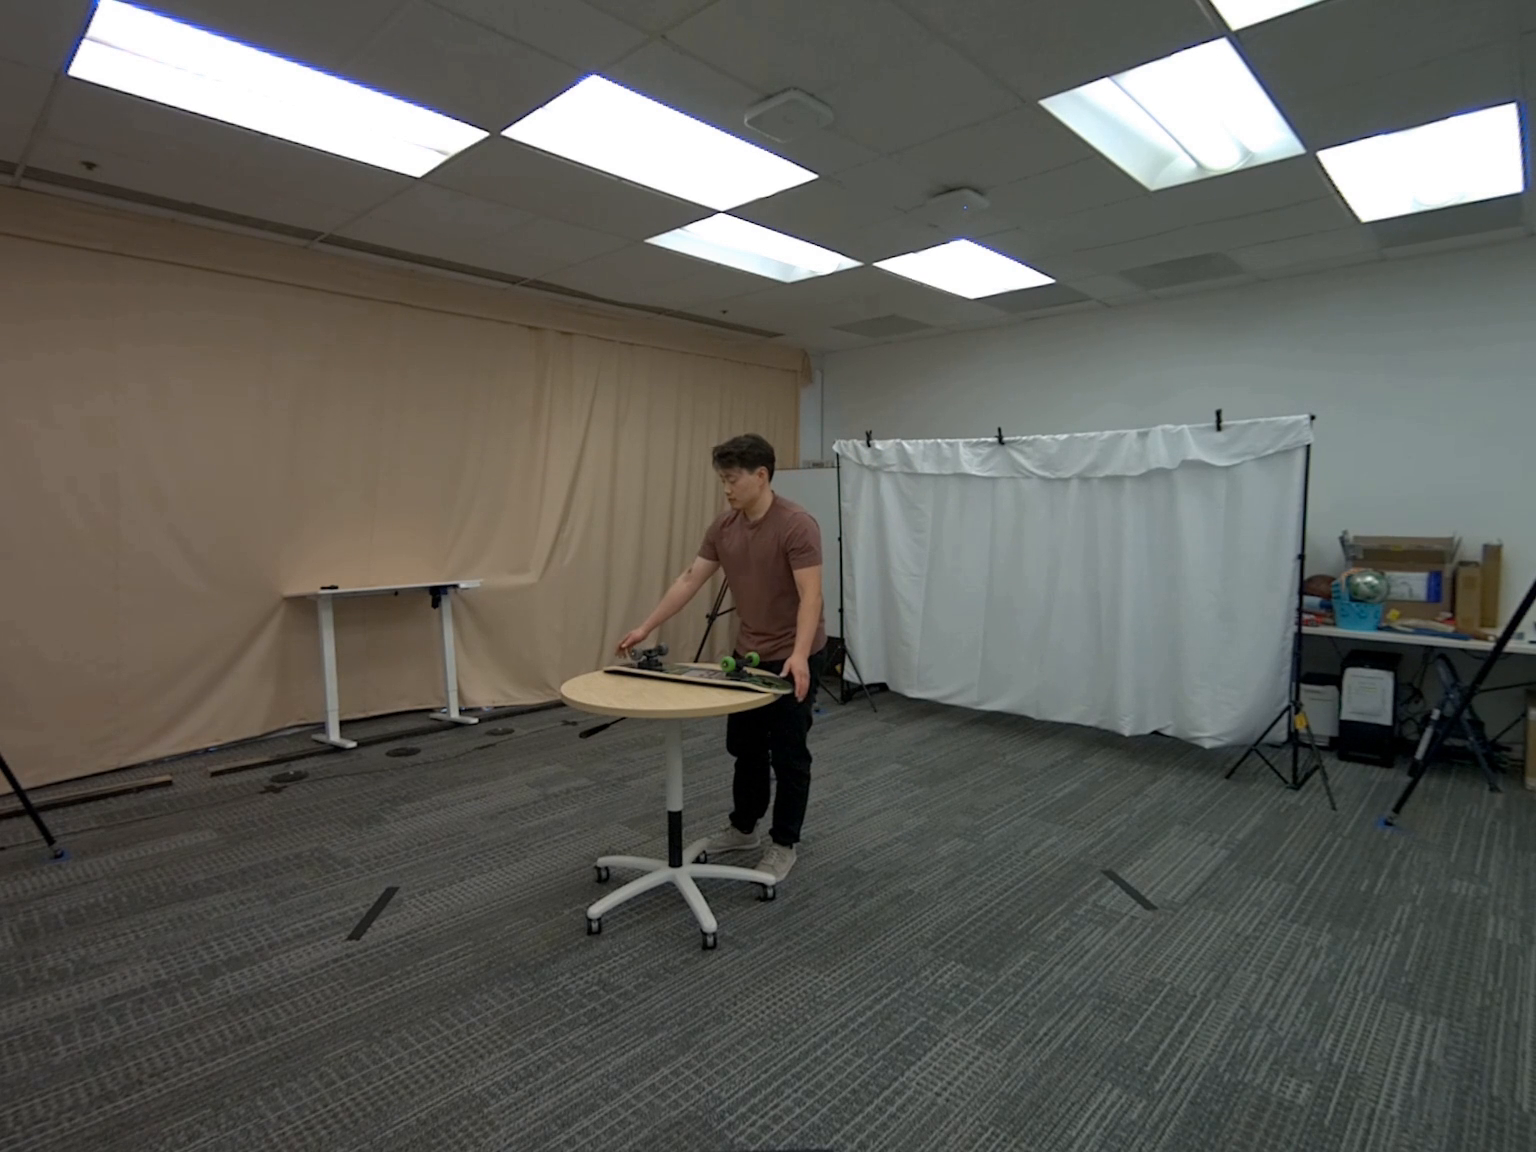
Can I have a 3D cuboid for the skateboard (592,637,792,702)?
[{"bbox_3d":[-0.265,0.312,2.972,0.810,0.110,0.188,3,6,35],"label":"skateboard"}]
